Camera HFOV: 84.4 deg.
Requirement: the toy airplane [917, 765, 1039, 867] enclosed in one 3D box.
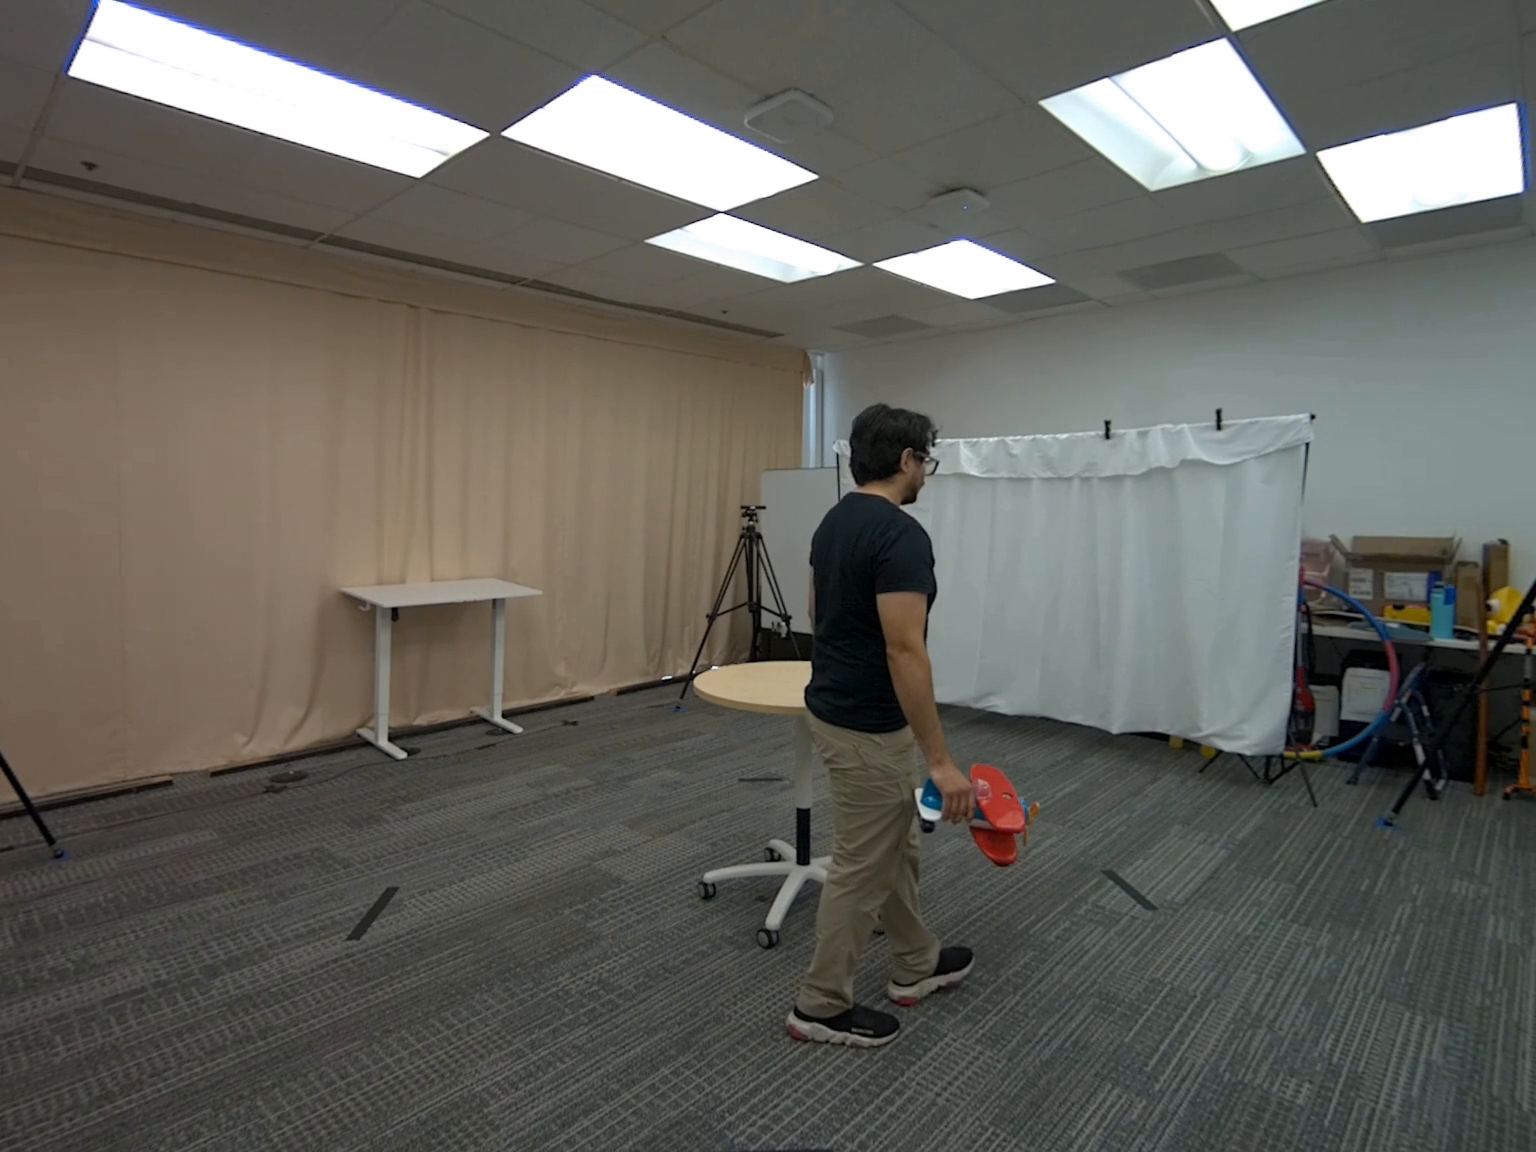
[{"bbox_3d":[0.485,0.554,1.917,0.251,0.156,0.259,11,20,-31],"label":"toy airplane"}]
